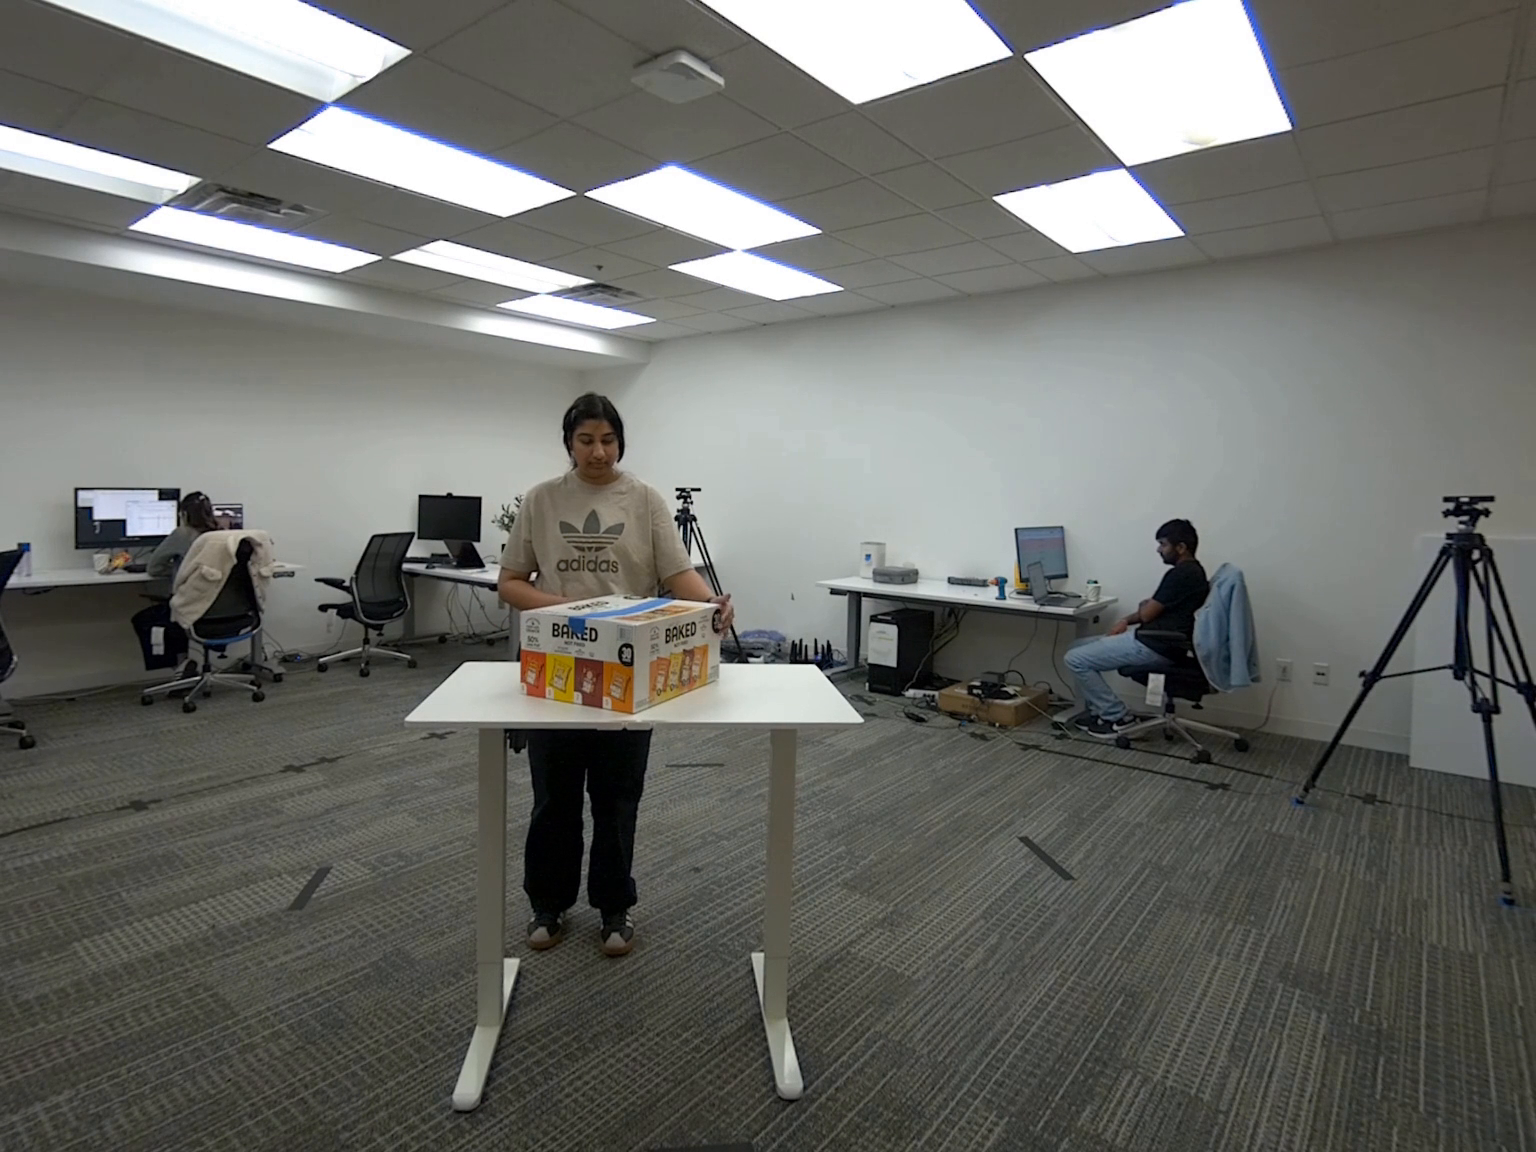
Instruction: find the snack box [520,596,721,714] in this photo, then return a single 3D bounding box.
[{"bbox_3d":[-0.371,0.178,2.158,0.350,0.205,0.396,4,6,27],"label":"snack box"}]
